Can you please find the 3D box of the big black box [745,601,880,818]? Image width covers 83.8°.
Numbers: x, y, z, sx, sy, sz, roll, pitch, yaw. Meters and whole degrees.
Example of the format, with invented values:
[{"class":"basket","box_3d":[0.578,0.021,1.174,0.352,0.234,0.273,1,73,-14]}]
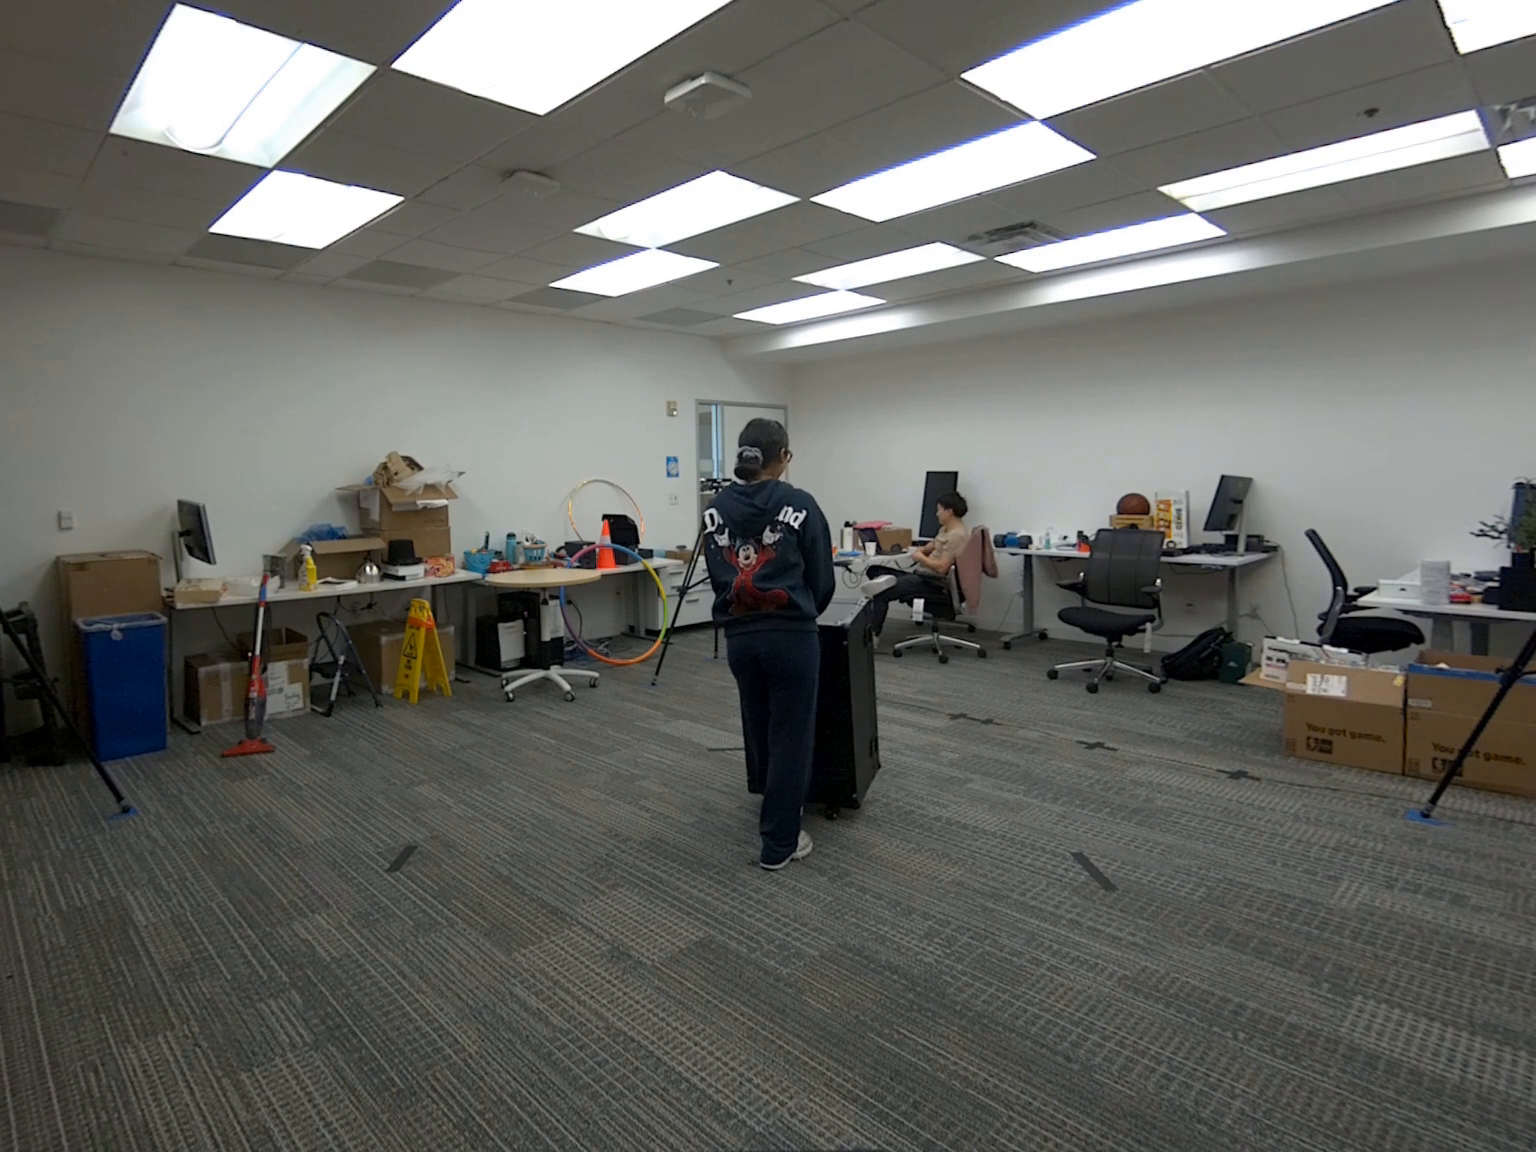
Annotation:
[{"class":"big black box","box_3d":[0.179,0.538,3.580,0.533,0.849,0.393,2,16,23]}]
